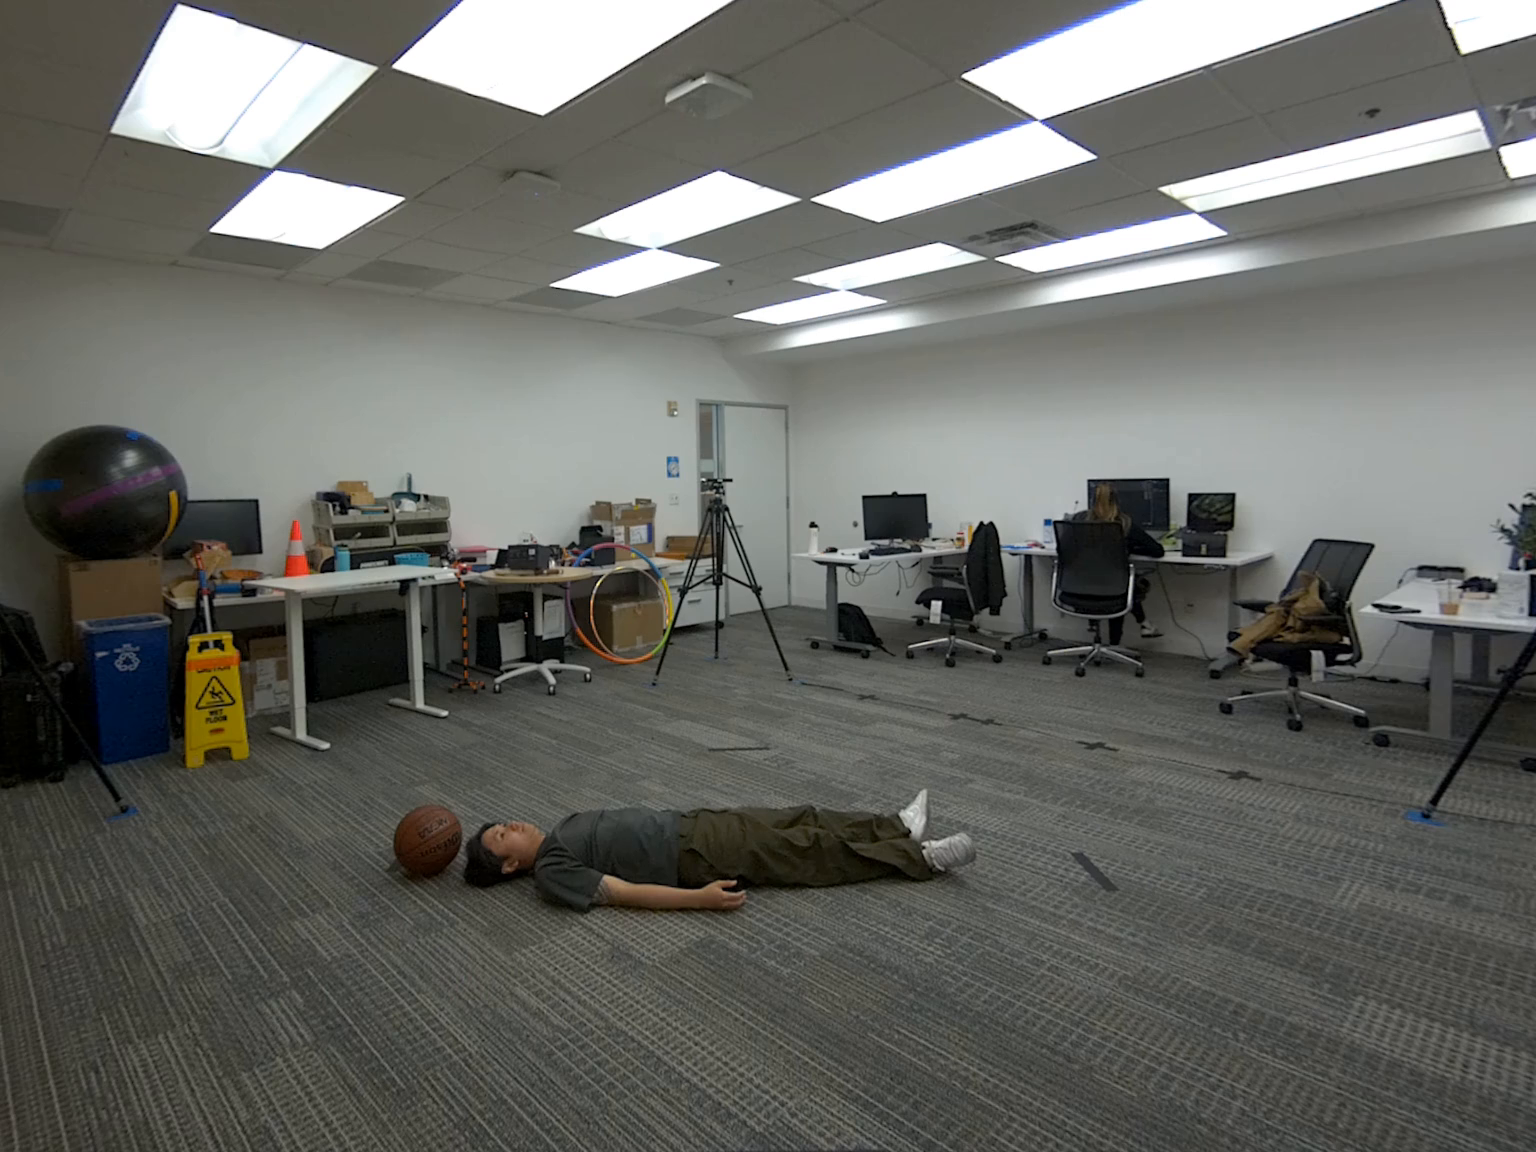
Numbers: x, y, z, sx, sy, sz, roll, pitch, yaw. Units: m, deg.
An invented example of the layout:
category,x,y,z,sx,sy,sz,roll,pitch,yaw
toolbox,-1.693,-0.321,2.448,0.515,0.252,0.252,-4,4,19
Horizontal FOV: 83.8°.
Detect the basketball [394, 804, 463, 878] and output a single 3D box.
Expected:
category,x,y,z,sx,sy,sz,roll,pitch,yaw
basketball,-1.210,0.942,3.091,0.236,0.235,0.237,-1,5,-2
